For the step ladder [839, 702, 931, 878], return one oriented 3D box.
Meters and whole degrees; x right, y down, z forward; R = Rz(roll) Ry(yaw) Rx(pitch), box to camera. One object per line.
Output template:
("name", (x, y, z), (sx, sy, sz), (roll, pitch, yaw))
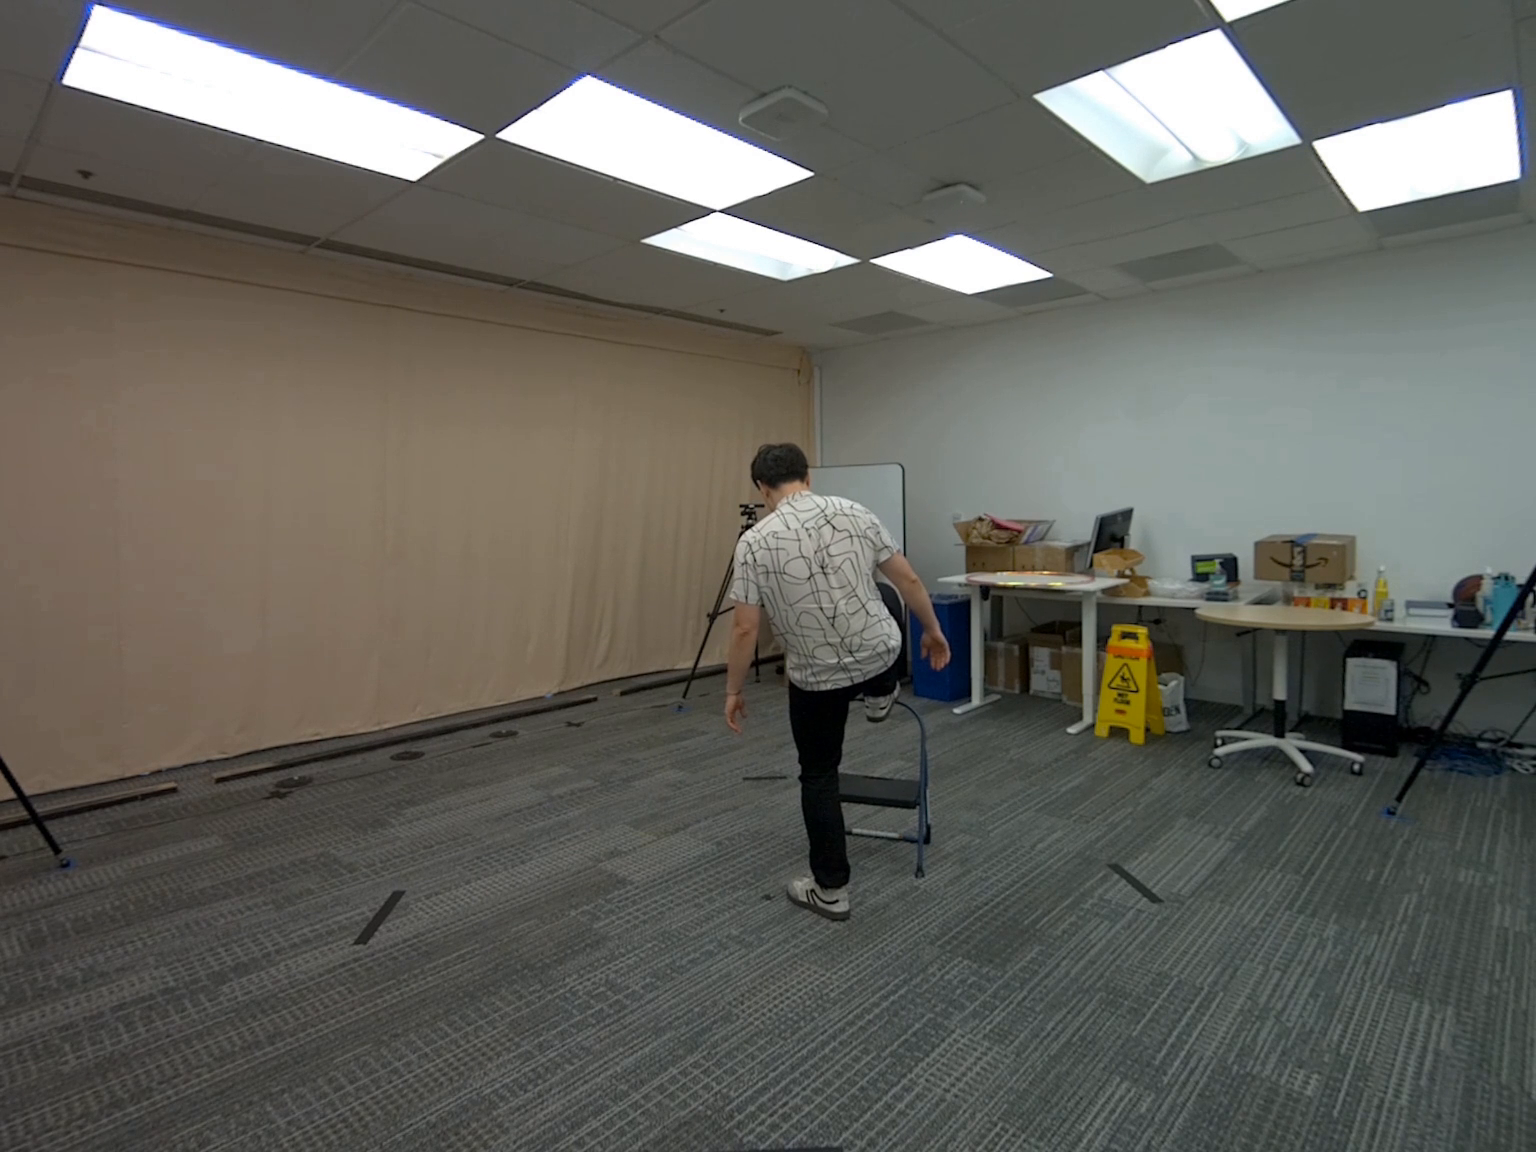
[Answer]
("step ladder", (0.424, 0.798, 3.340), (0.439, 0.605, 0.343), (1, 4, 18))
